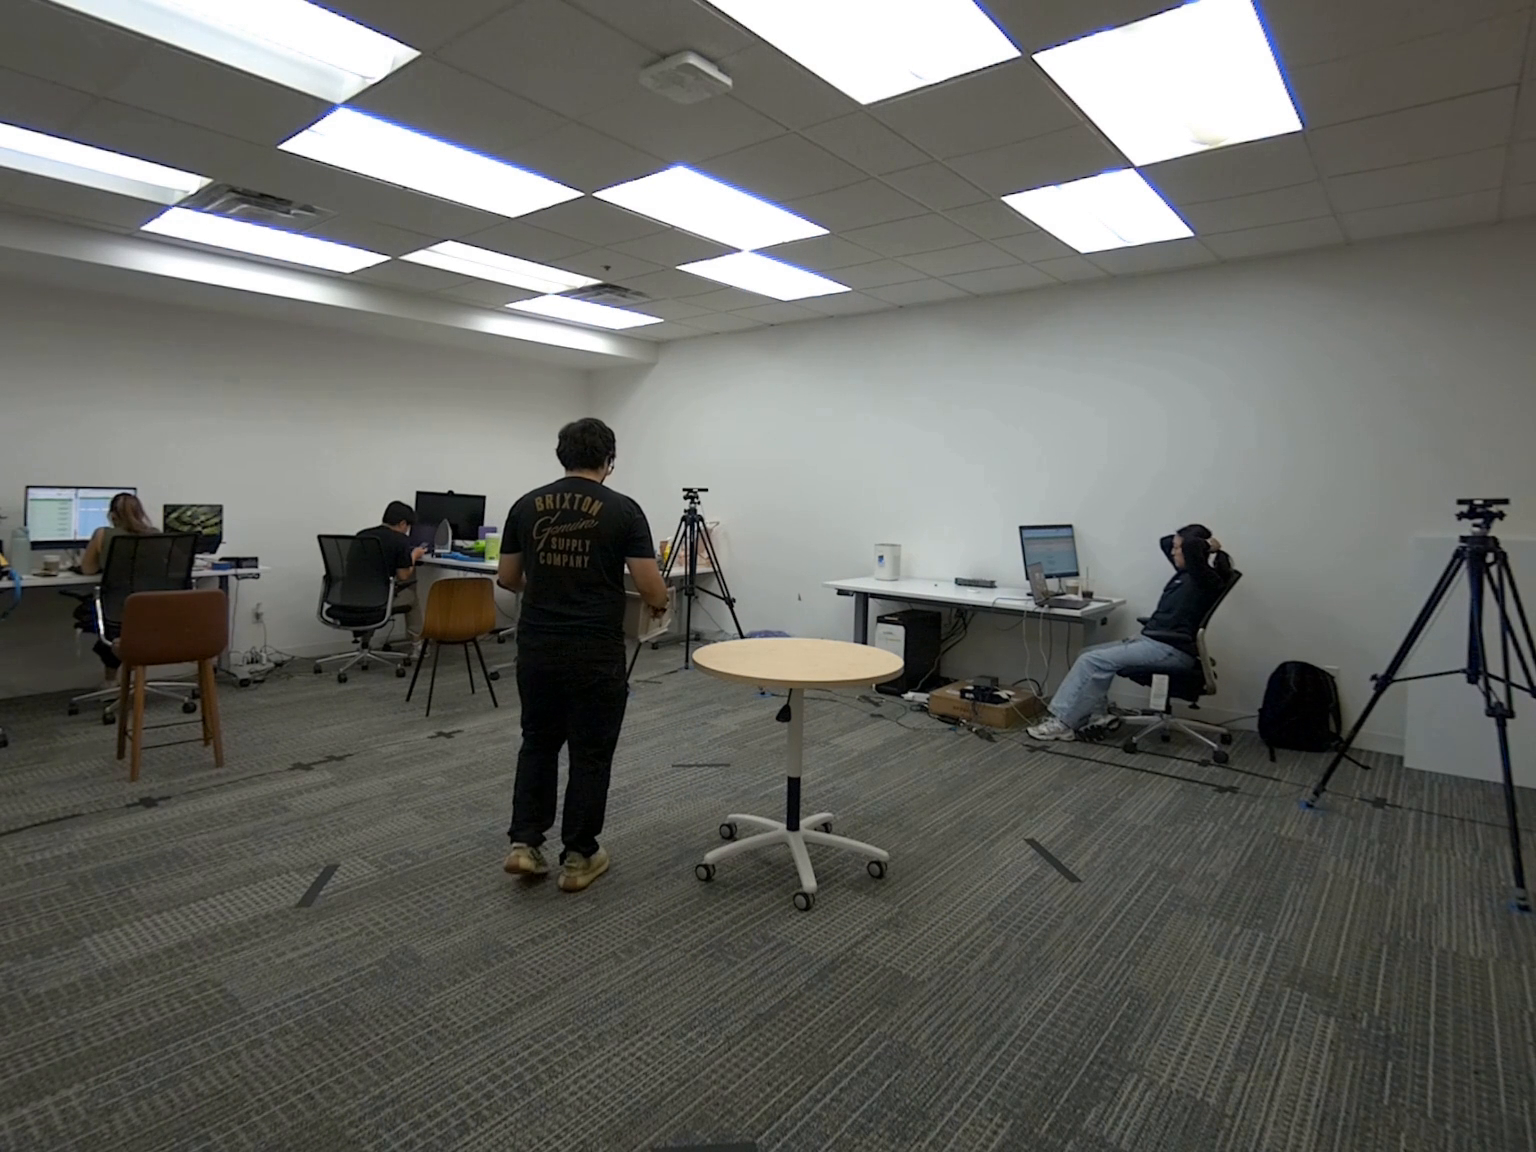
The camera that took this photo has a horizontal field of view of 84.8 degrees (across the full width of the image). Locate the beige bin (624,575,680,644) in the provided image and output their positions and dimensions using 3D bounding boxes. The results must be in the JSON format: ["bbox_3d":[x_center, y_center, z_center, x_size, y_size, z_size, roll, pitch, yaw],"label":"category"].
[{"bbox_3d":[-0.623,0.108,3.352,0.429,0.188,0.373,8,7,12],"label":"beige bin"}]
